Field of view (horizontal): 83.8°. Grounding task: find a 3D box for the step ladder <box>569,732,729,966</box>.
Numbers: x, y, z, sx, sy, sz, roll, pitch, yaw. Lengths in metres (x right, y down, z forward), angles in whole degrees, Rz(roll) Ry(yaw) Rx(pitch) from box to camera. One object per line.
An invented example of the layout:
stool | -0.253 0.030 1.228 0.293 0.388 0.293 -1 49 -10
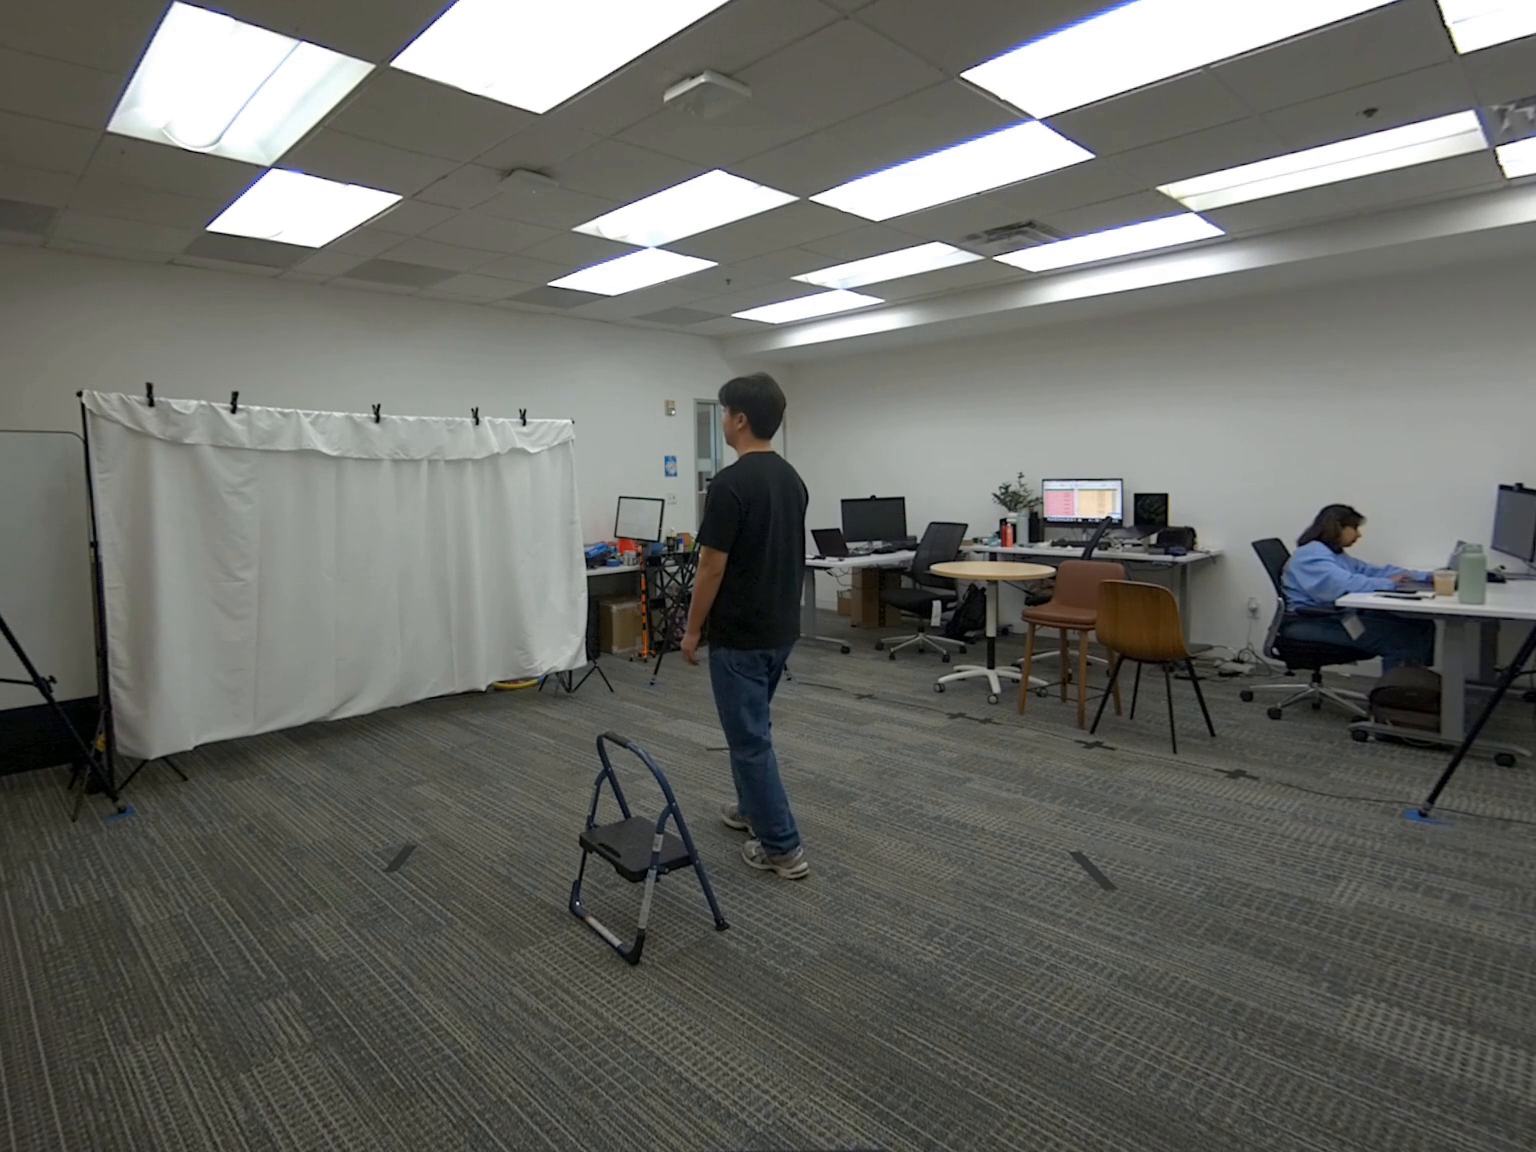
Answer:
step ladder | -0.391 0.792 2.705 0.340 0.603 0.444 -5 7 -39
